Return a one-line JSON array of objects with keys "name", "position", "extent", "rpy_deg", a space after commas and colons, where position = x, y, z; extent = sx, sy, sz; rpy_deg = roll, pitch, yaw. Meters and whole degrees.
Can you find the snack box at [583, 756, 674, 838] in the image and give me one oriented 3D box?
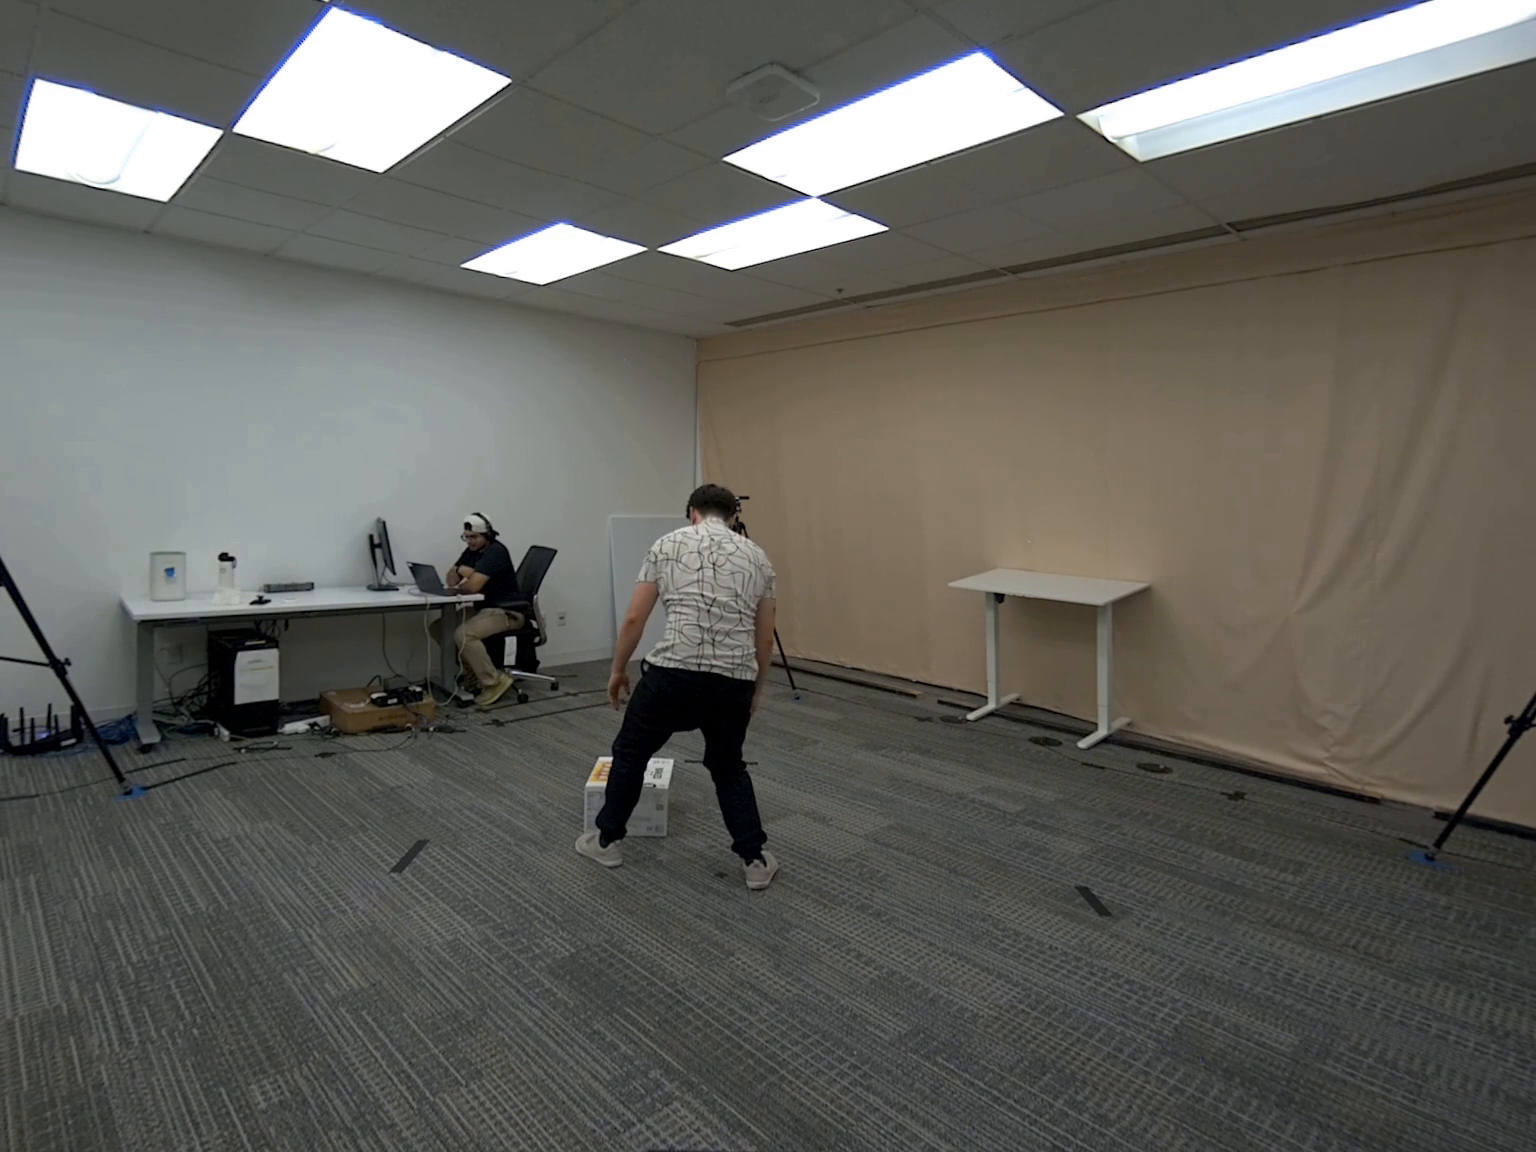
[{"name": "snack box", "position": [-0.599, 0.946, 3.632], "extent": [0.340, 0.205, 0.407], "rpy_deg": [1, 4, -2]}]
